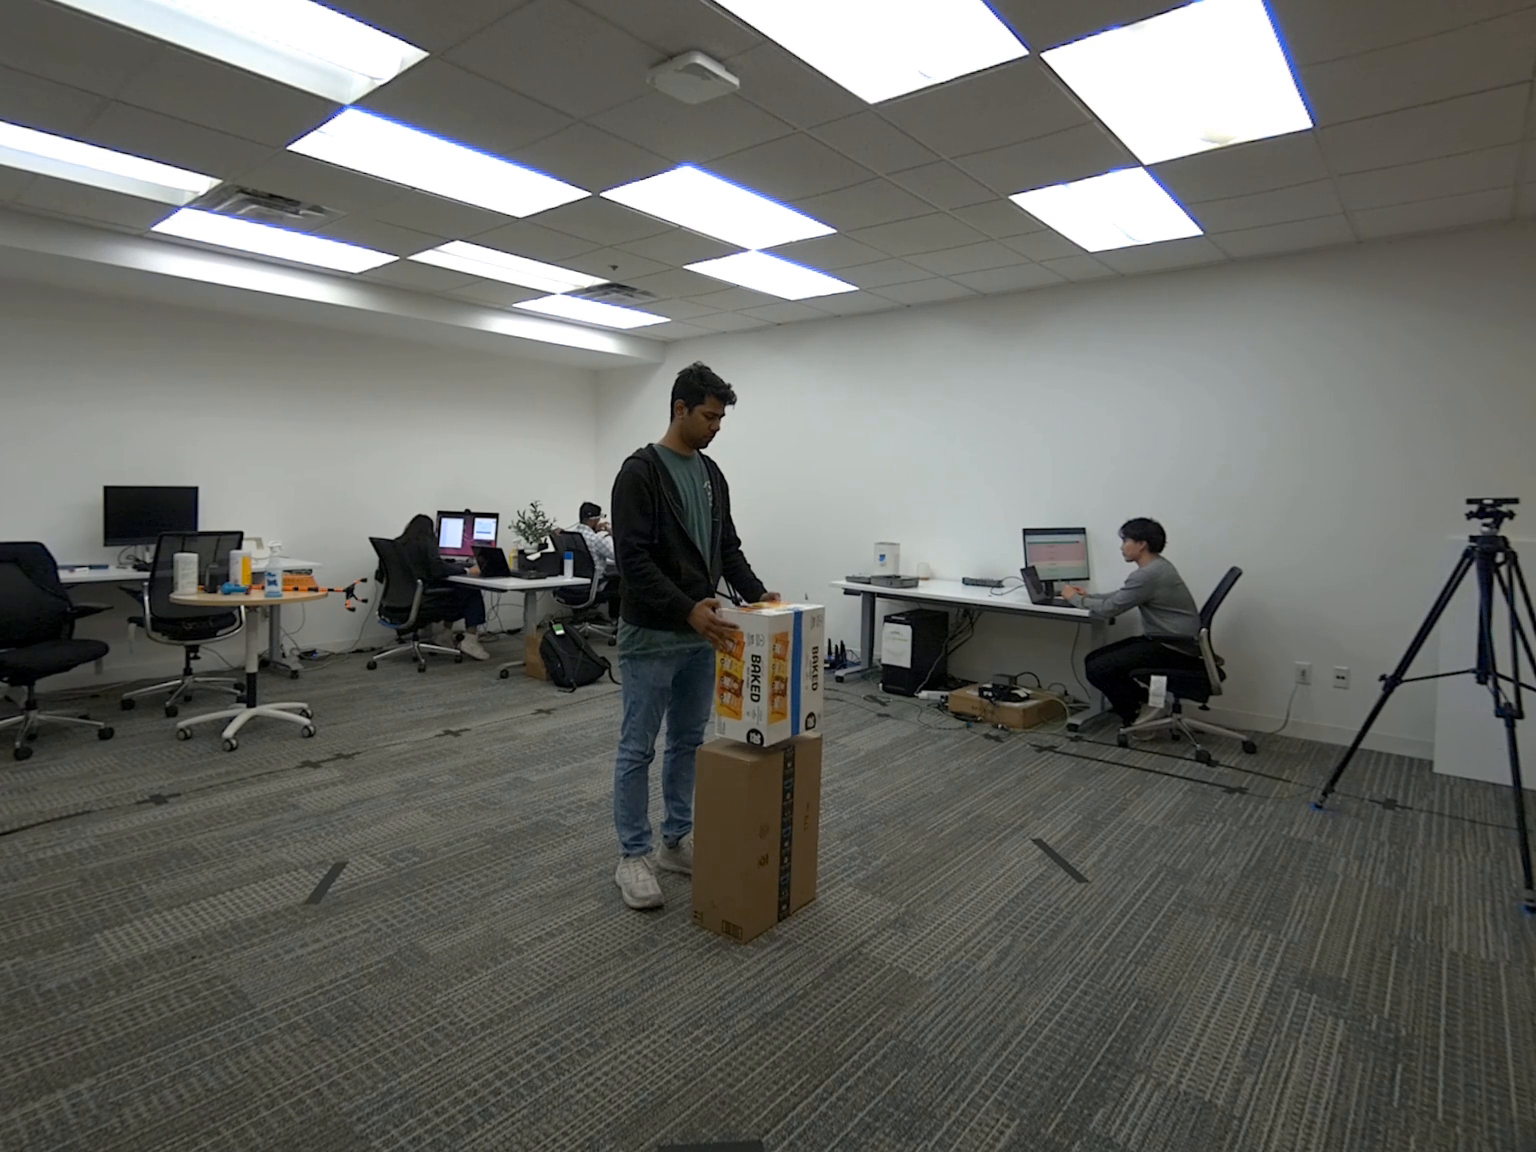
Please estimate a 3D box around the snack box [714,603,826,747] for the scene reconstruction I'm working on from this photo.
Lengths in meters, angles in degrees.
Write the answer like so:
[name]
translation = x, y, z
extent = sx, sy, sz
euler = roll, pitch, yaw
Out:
[snack box]
translation = -0.004, 0.300, 2.766
extent = 0.212, 0.404, 0.330
euler = 4, 4, 36
